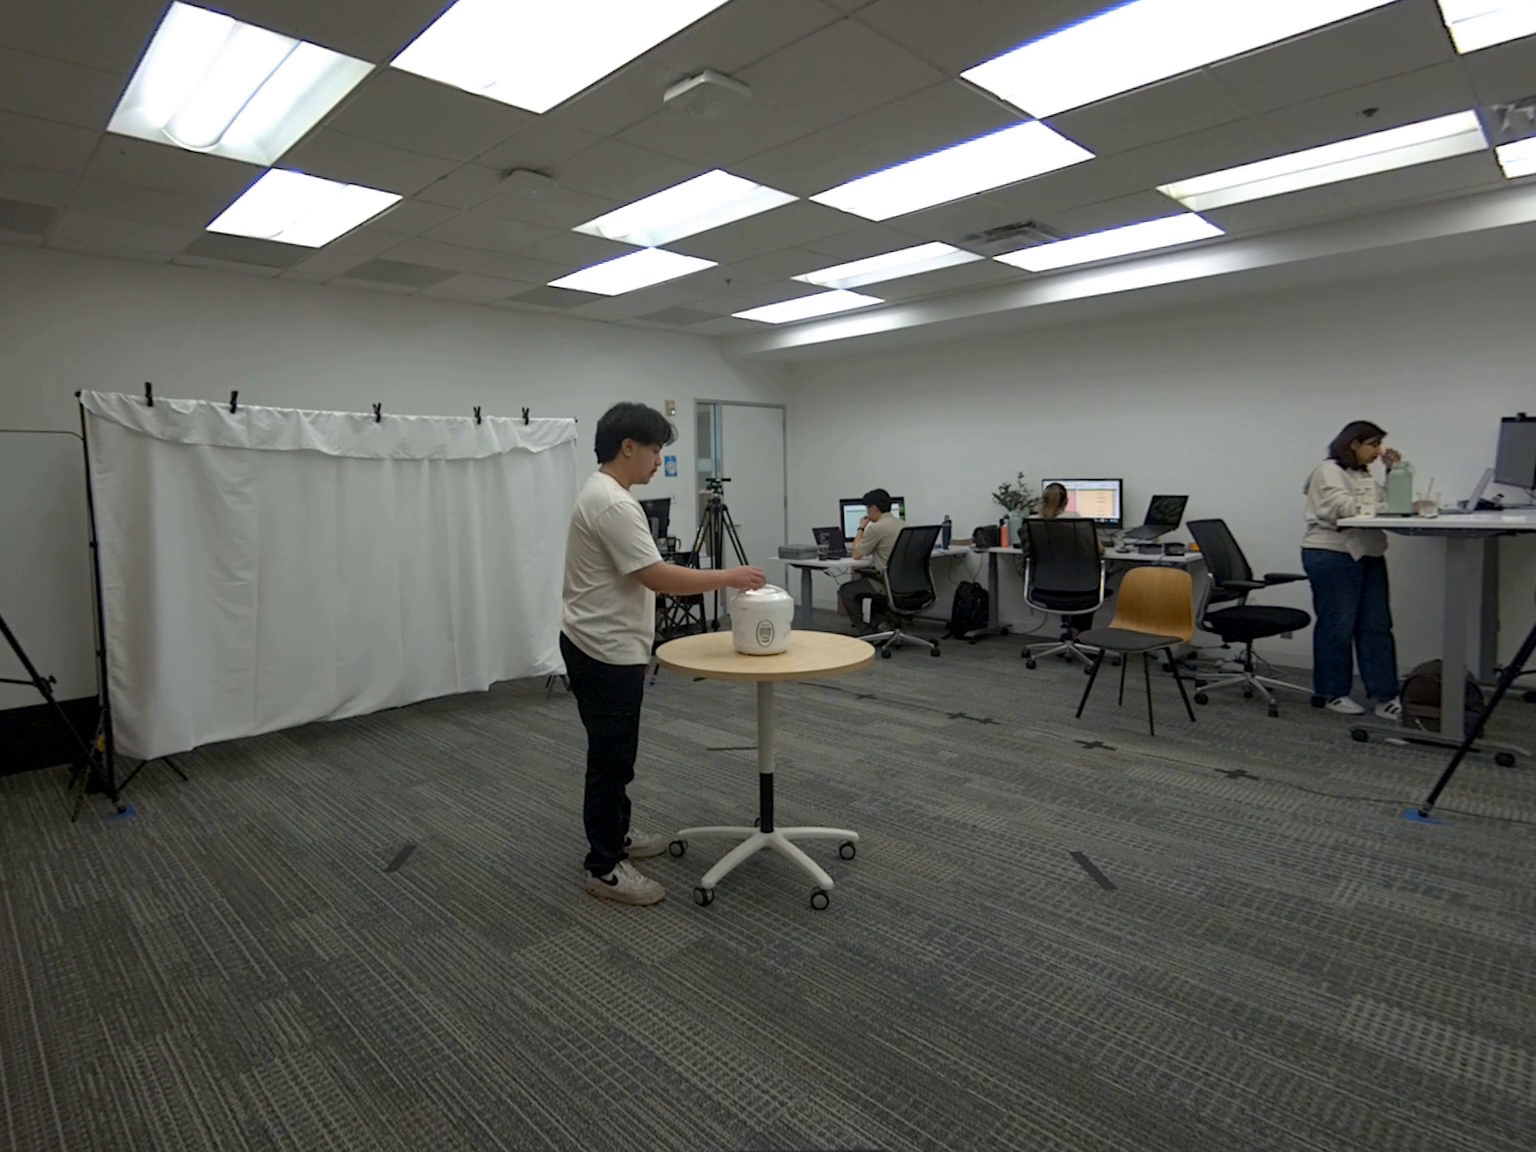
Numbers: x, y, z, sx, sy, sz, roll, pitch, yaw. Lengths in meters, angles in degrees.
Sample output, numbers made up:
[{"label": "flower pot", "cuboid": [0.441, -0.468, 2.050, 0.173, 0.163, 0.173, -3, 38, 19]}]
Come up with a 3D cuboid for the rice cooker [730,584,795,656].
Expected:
[{"label": "rice cooker", "cuboid": [-0.018, 0.141, 2.957, 0.219, 0.232, 0.219, -2, 4, -6]}]
